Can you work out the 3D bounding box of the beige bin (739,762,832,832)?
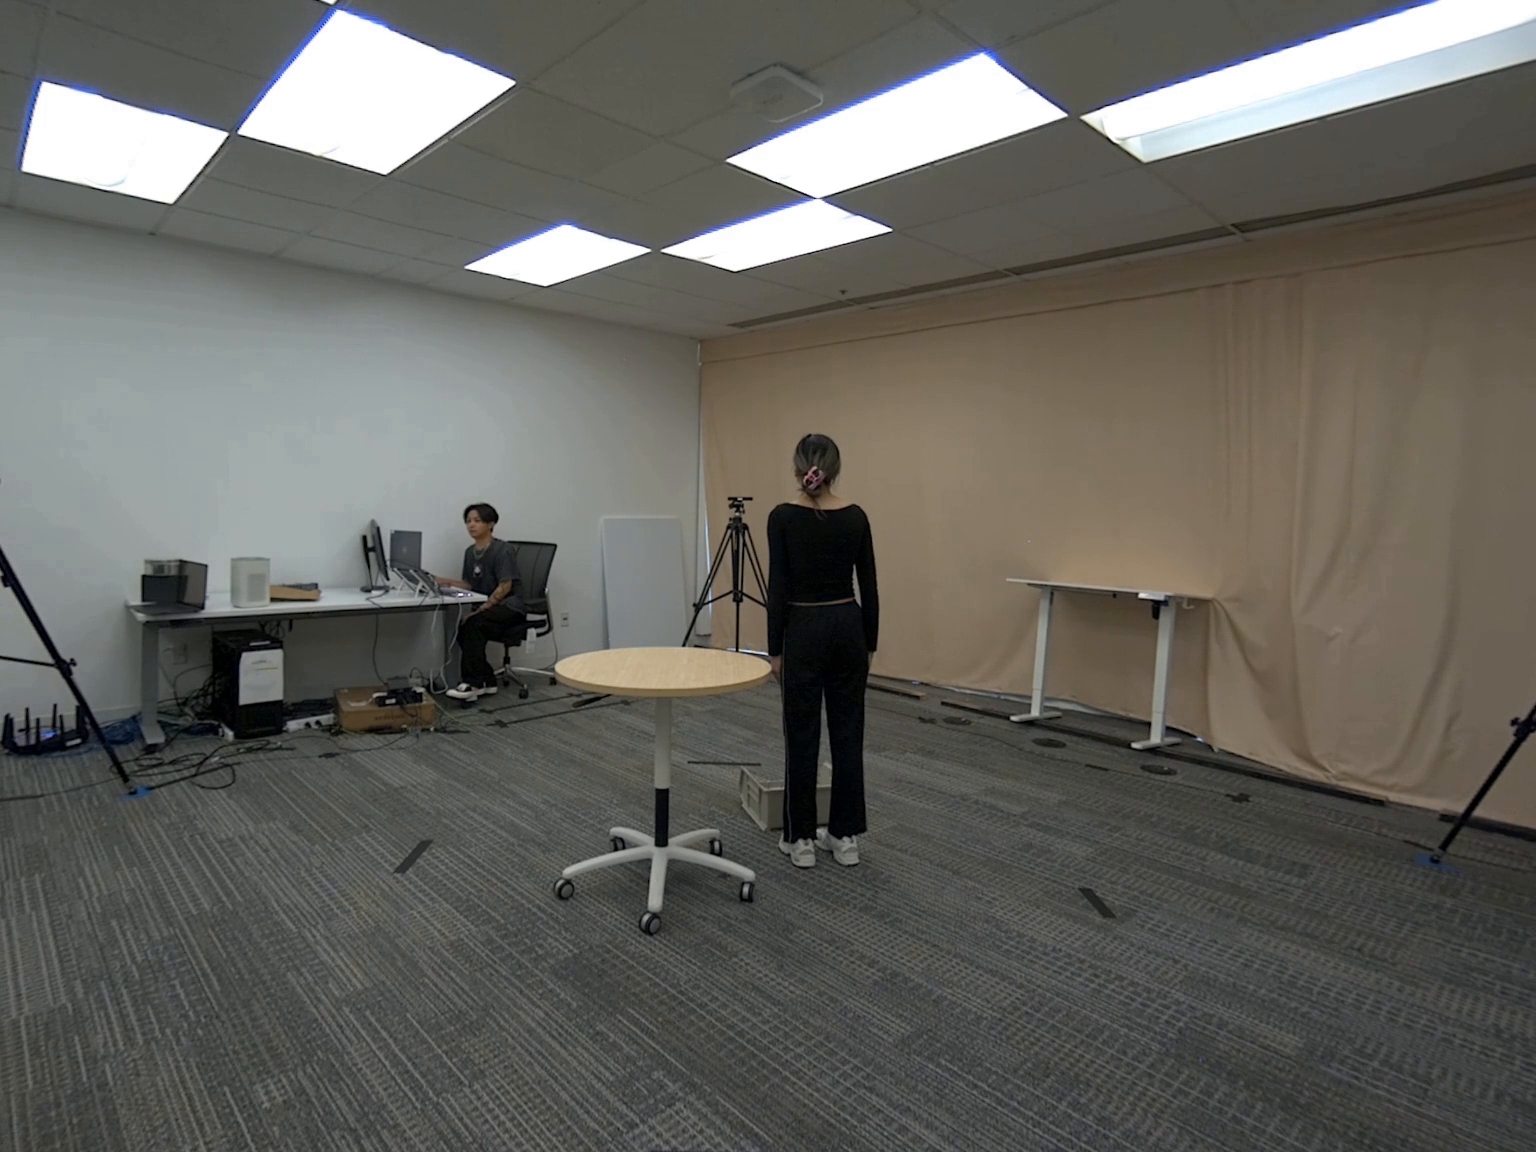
[{"bbox_3d":[0.117,0.960,3.757,0.417,0.188,0.384,0,6,-17],"label":"beige bin"}]
